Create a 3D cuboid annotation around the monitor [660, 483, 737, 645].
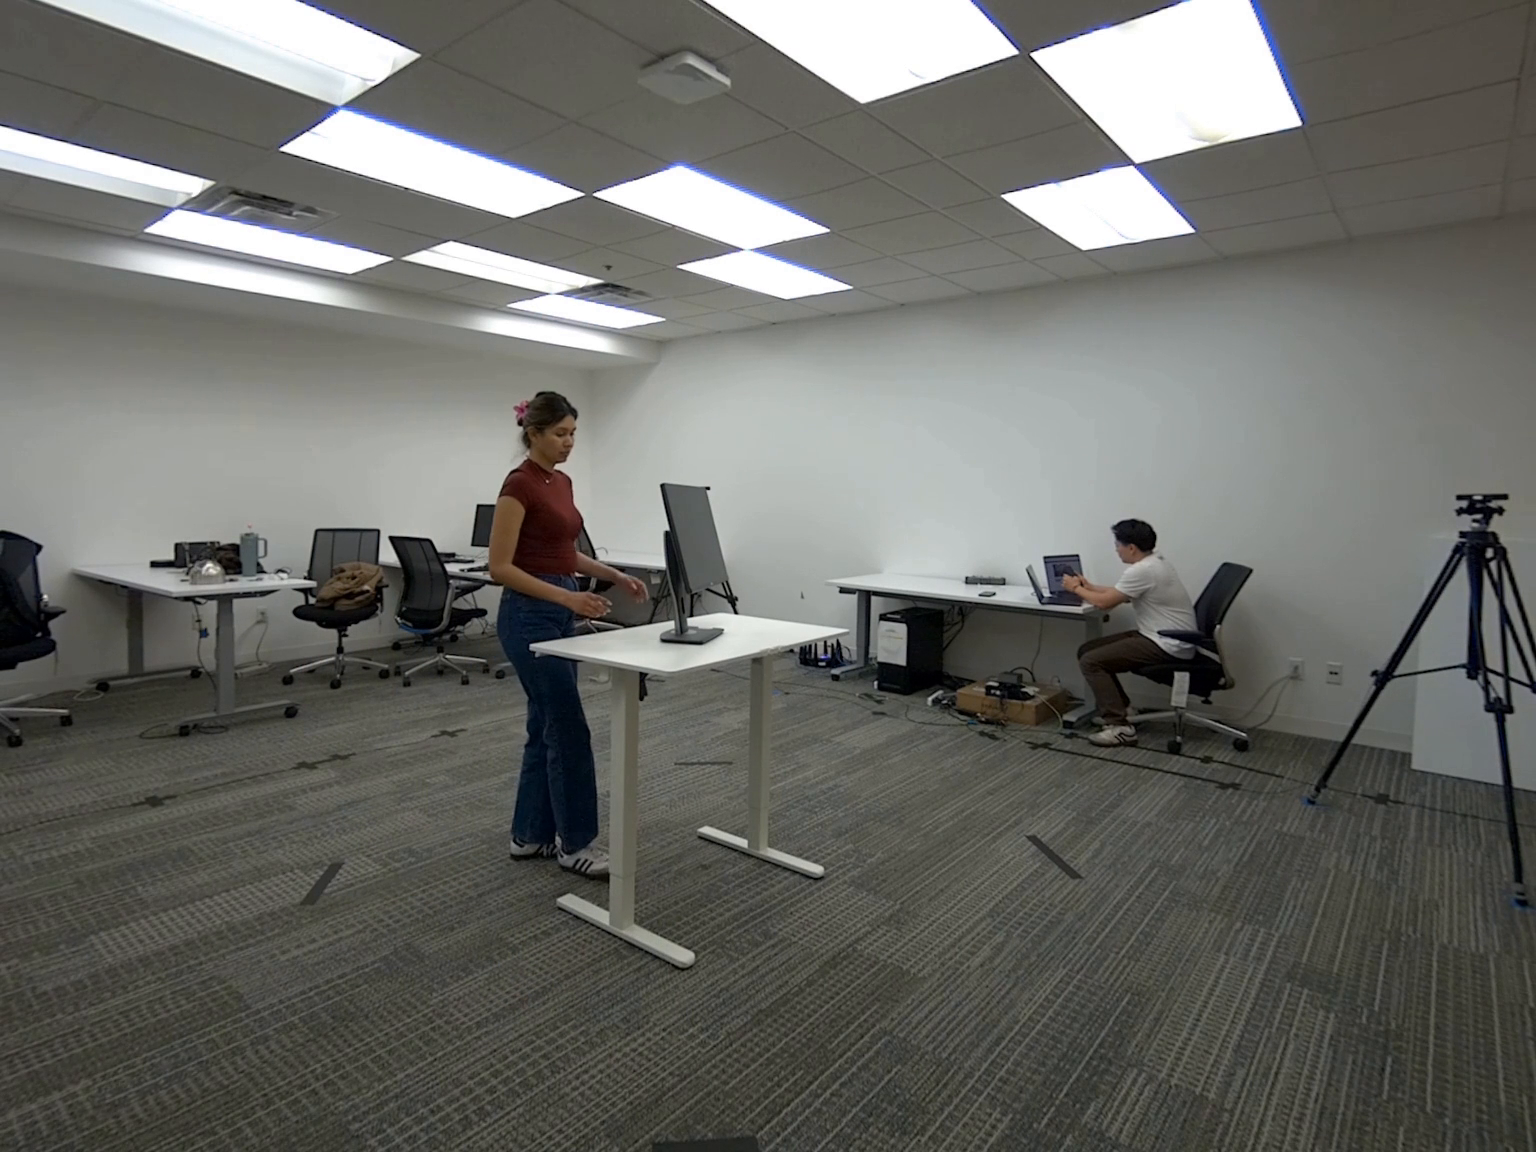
[{"bbox_3d":[-0.276,-0.047,2.885,0.189,0.521,0.535,1,3,8],"label":"monitor"}]
